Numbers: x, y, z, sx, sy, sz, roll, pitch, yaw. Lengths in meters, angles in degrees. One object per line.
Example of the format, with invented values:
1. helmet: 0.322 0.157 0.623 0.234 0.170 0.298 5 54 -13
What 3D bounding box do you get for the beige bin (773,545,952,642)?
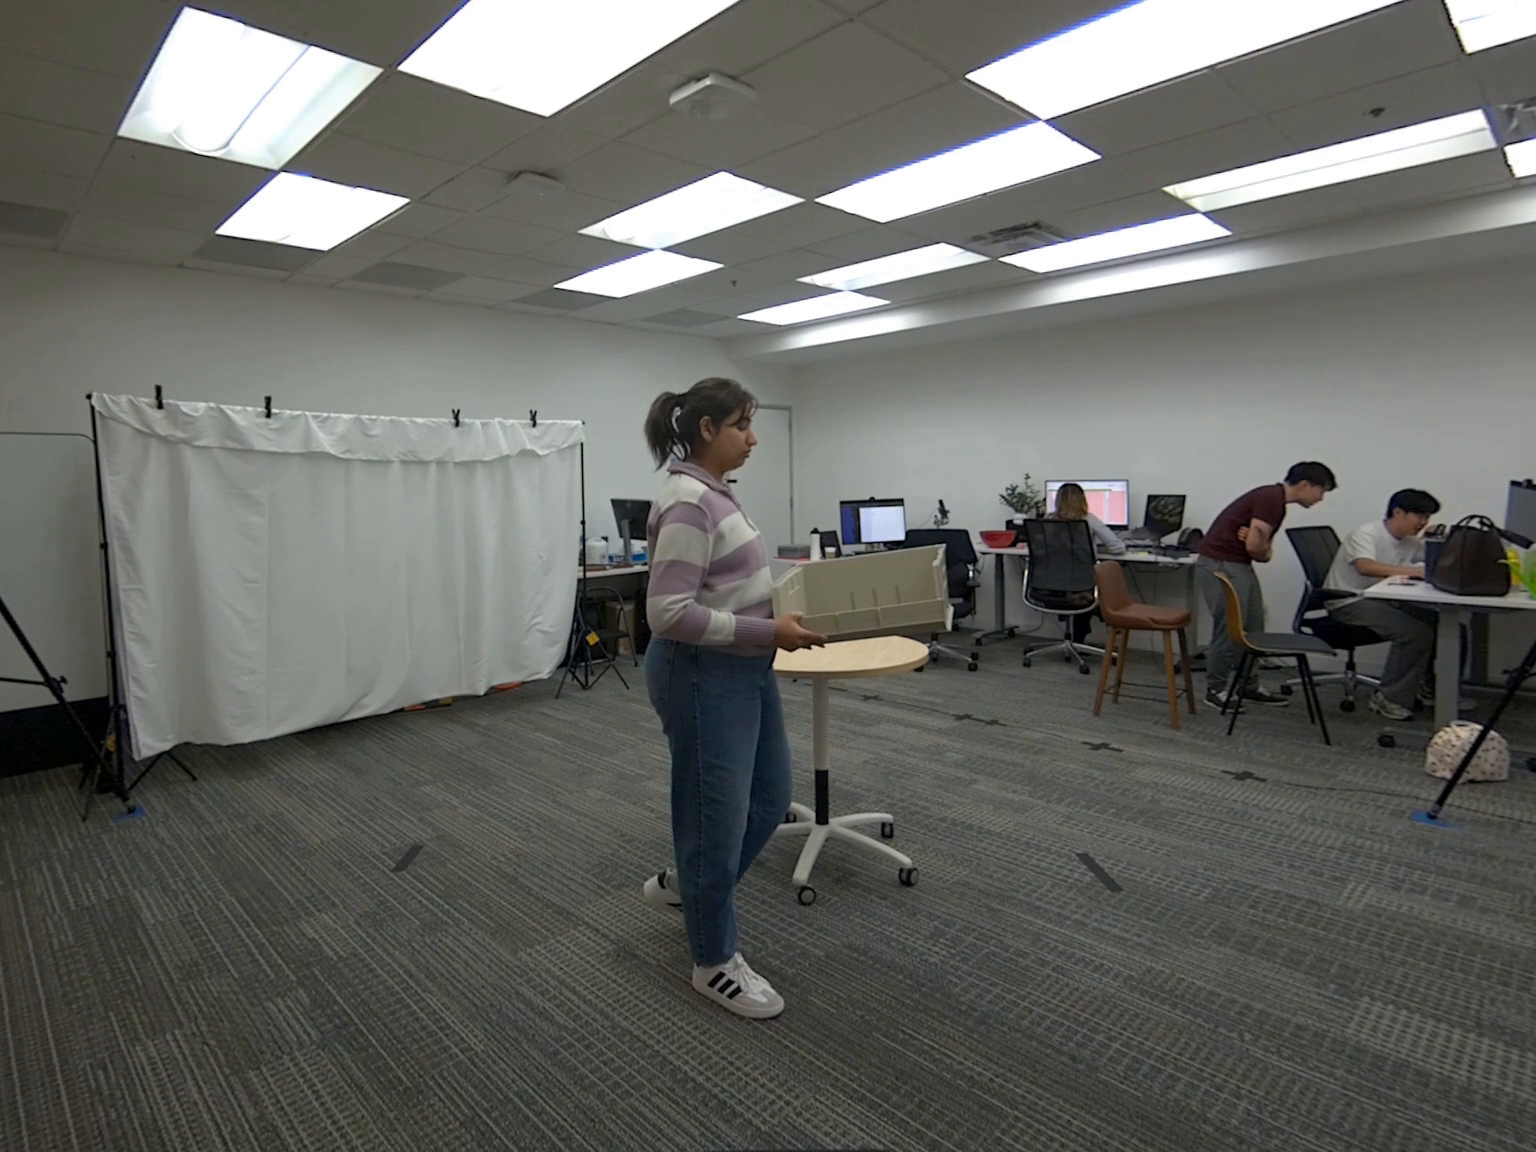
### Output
1. beige bin: 0.257 0.055 2.248 0.428 0.188 0.373 -8 4 17
